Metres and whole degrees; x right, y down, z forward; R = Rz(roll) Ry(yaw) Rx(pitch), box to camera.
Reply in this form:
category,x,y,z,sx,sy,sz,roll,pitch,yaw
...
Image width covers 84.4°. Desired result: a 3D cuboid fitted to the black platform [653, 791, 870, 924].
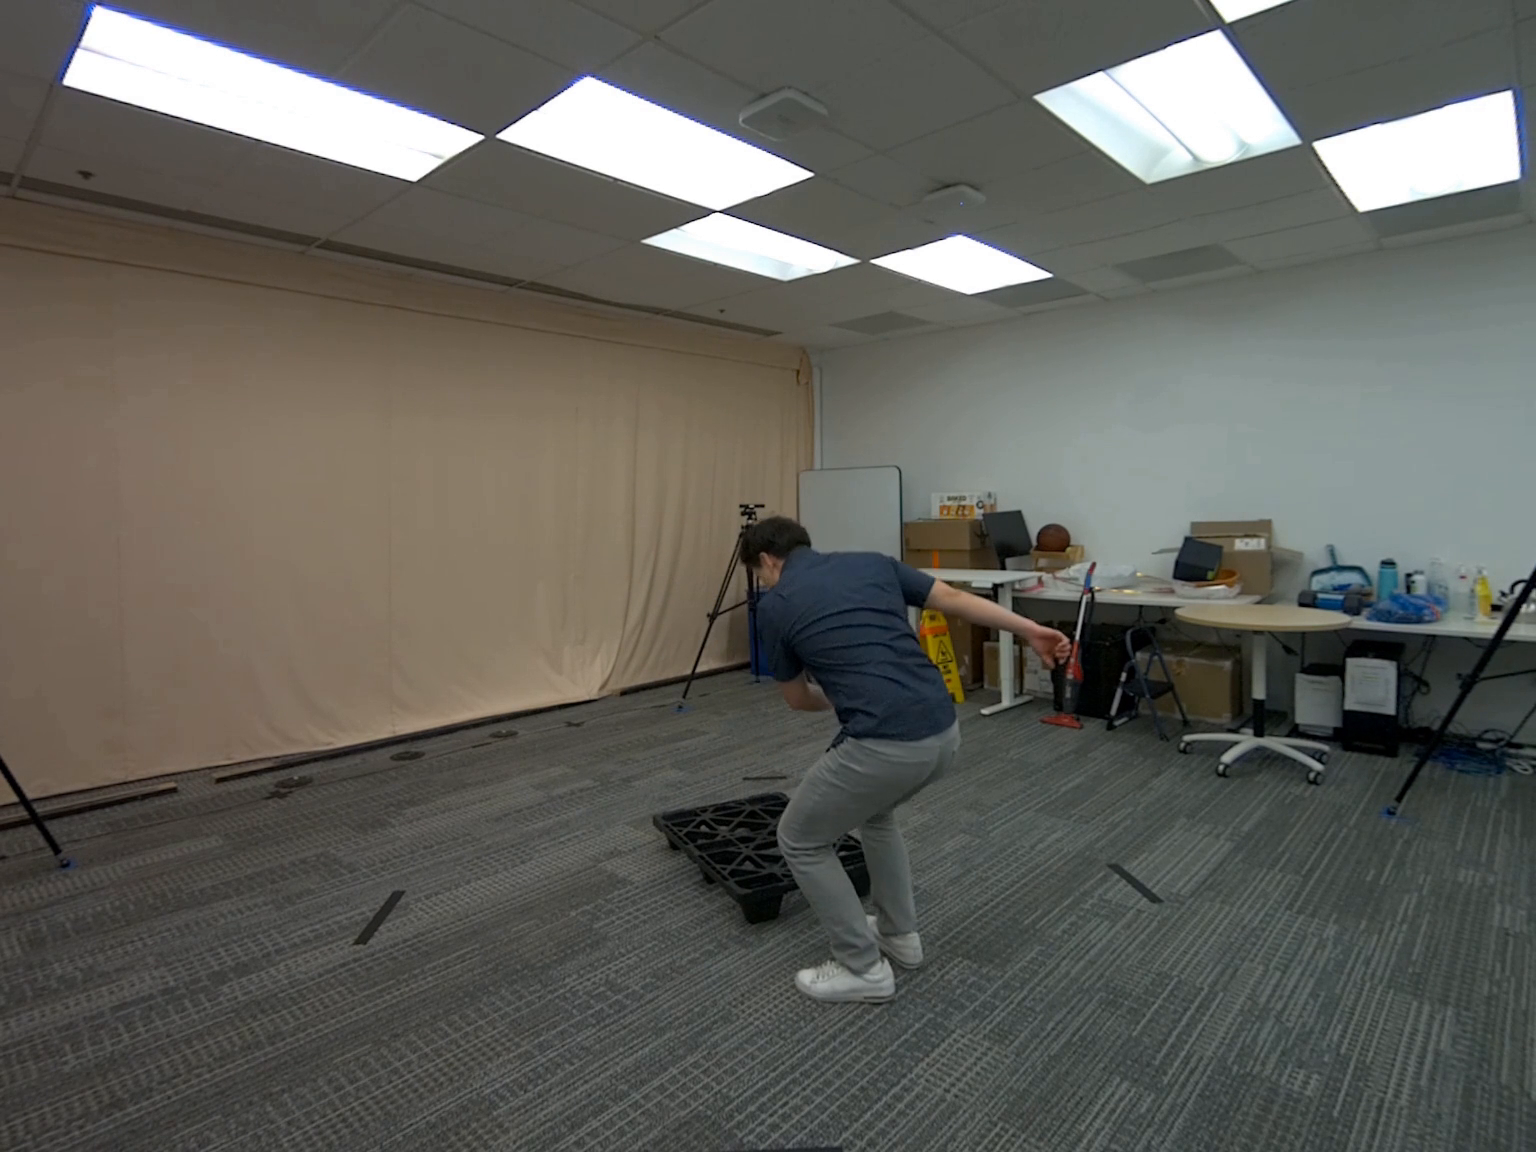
category,x,y,z,sx,sy,sz,roll,pitch,yaw
black platform,-0.021,1.053,3.217,0.590,0.143,0.828,-3,5,-27
